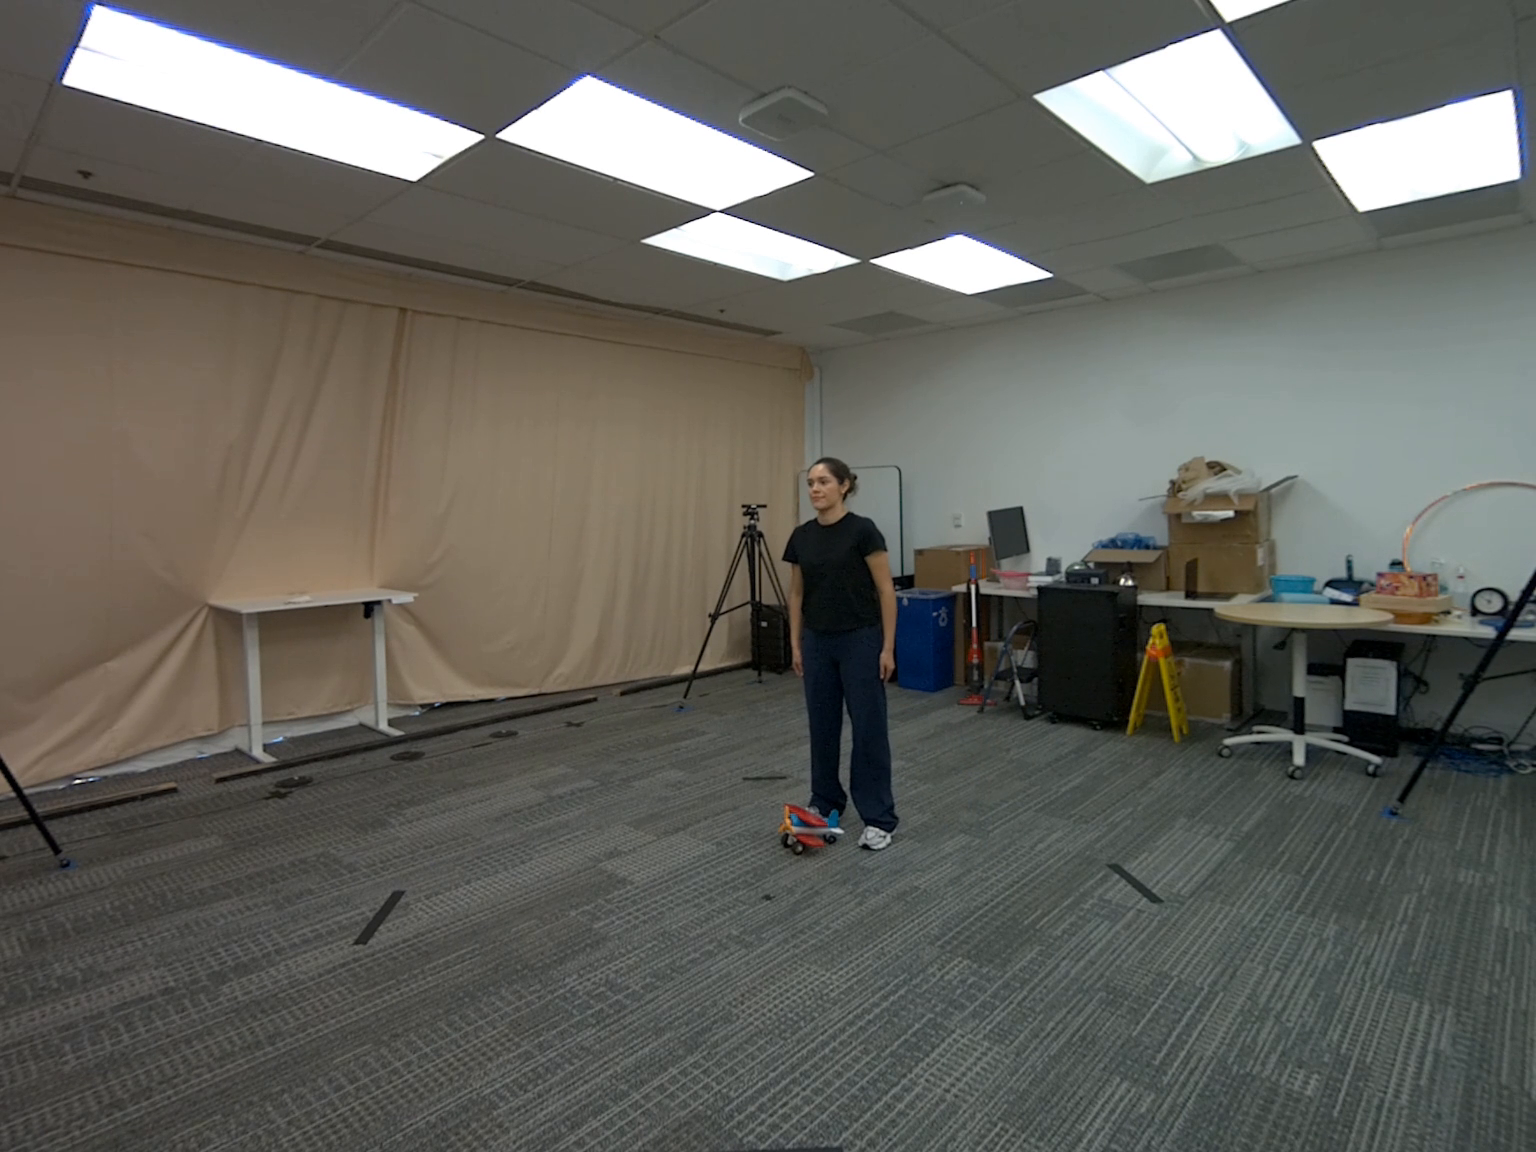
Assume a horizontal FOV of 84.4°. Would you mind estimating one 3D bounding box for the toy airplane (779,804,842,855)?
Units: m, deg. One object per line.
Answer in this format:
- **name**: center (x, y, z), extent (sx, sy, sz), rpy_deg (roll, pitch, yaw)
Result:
- **toy airplane**: center (0.179, 1.025, 3.433), extent (0.259, 0.156, 0.252), rpy_deg (3, 7, 33)
